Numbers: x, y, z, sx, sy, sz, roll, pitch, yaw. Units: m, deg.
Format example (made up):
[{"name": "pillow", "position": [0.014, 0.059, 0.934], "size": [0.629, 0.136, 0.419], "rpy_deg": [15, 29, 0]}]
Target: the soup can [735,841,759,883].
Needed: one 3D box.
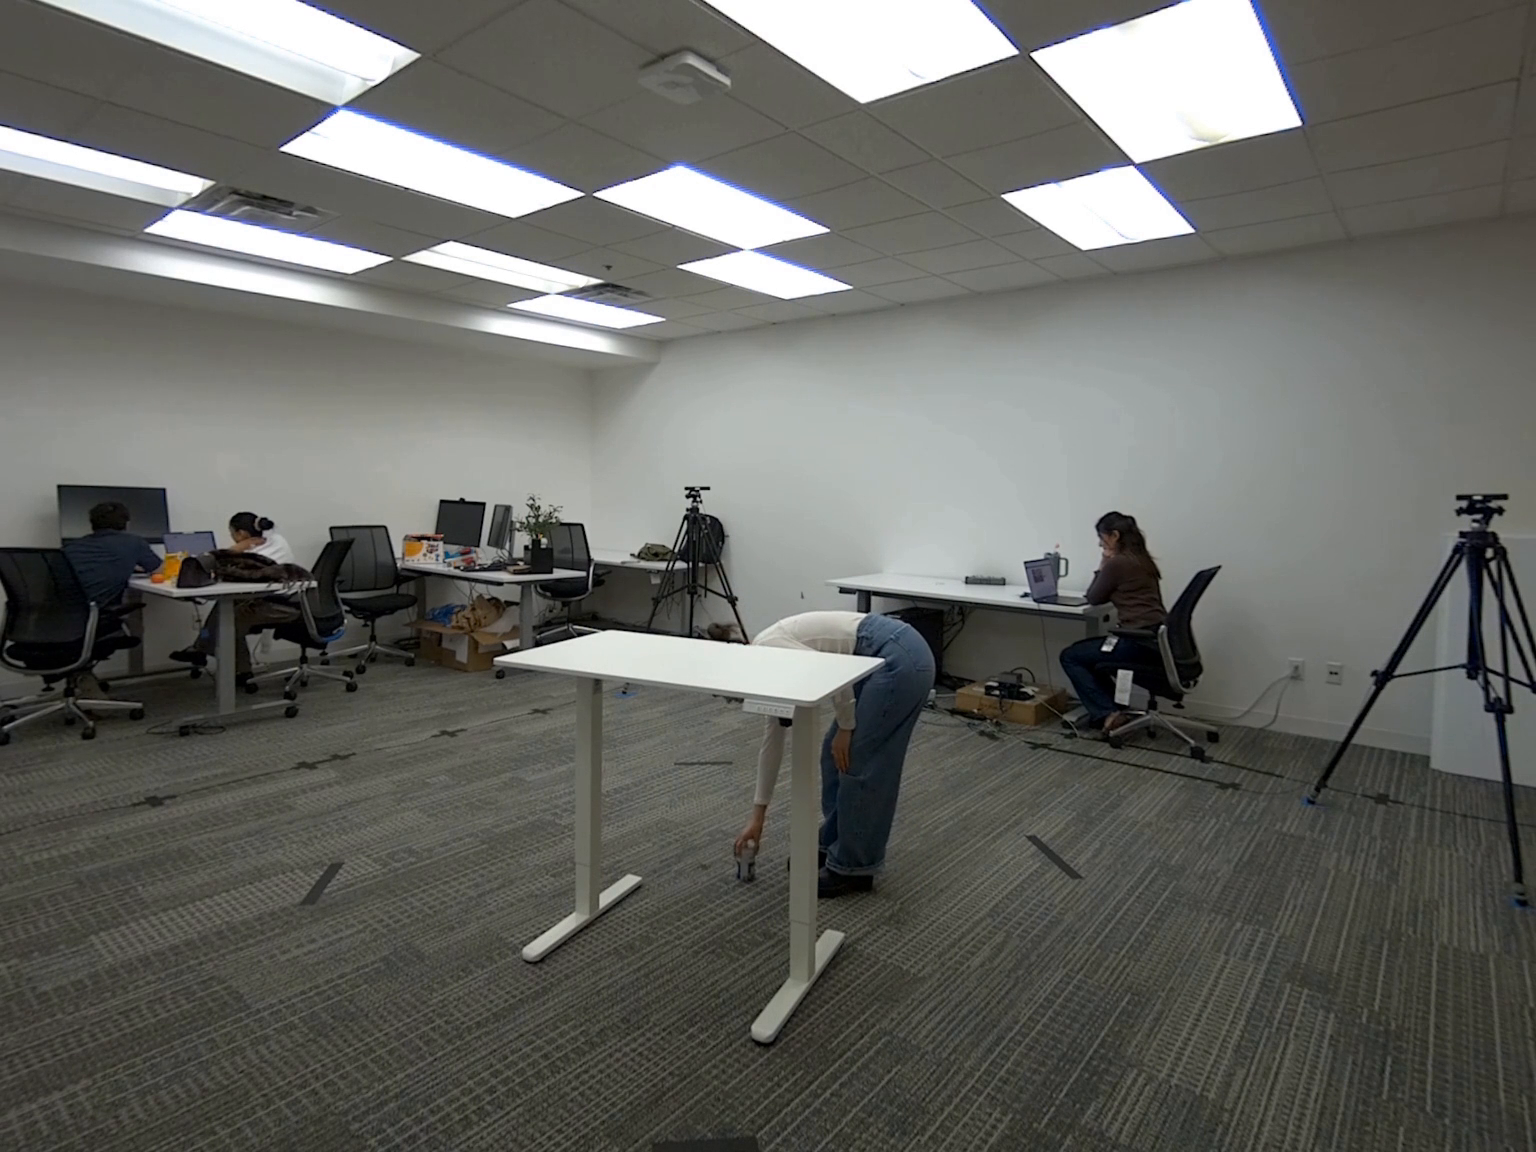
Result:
[{"name": "soup can", "position": [-0.082, 1.016, 3.048], "size": [0.067, 0.121, 0.067], "rpy_deg": [1, 1, -2]}]
